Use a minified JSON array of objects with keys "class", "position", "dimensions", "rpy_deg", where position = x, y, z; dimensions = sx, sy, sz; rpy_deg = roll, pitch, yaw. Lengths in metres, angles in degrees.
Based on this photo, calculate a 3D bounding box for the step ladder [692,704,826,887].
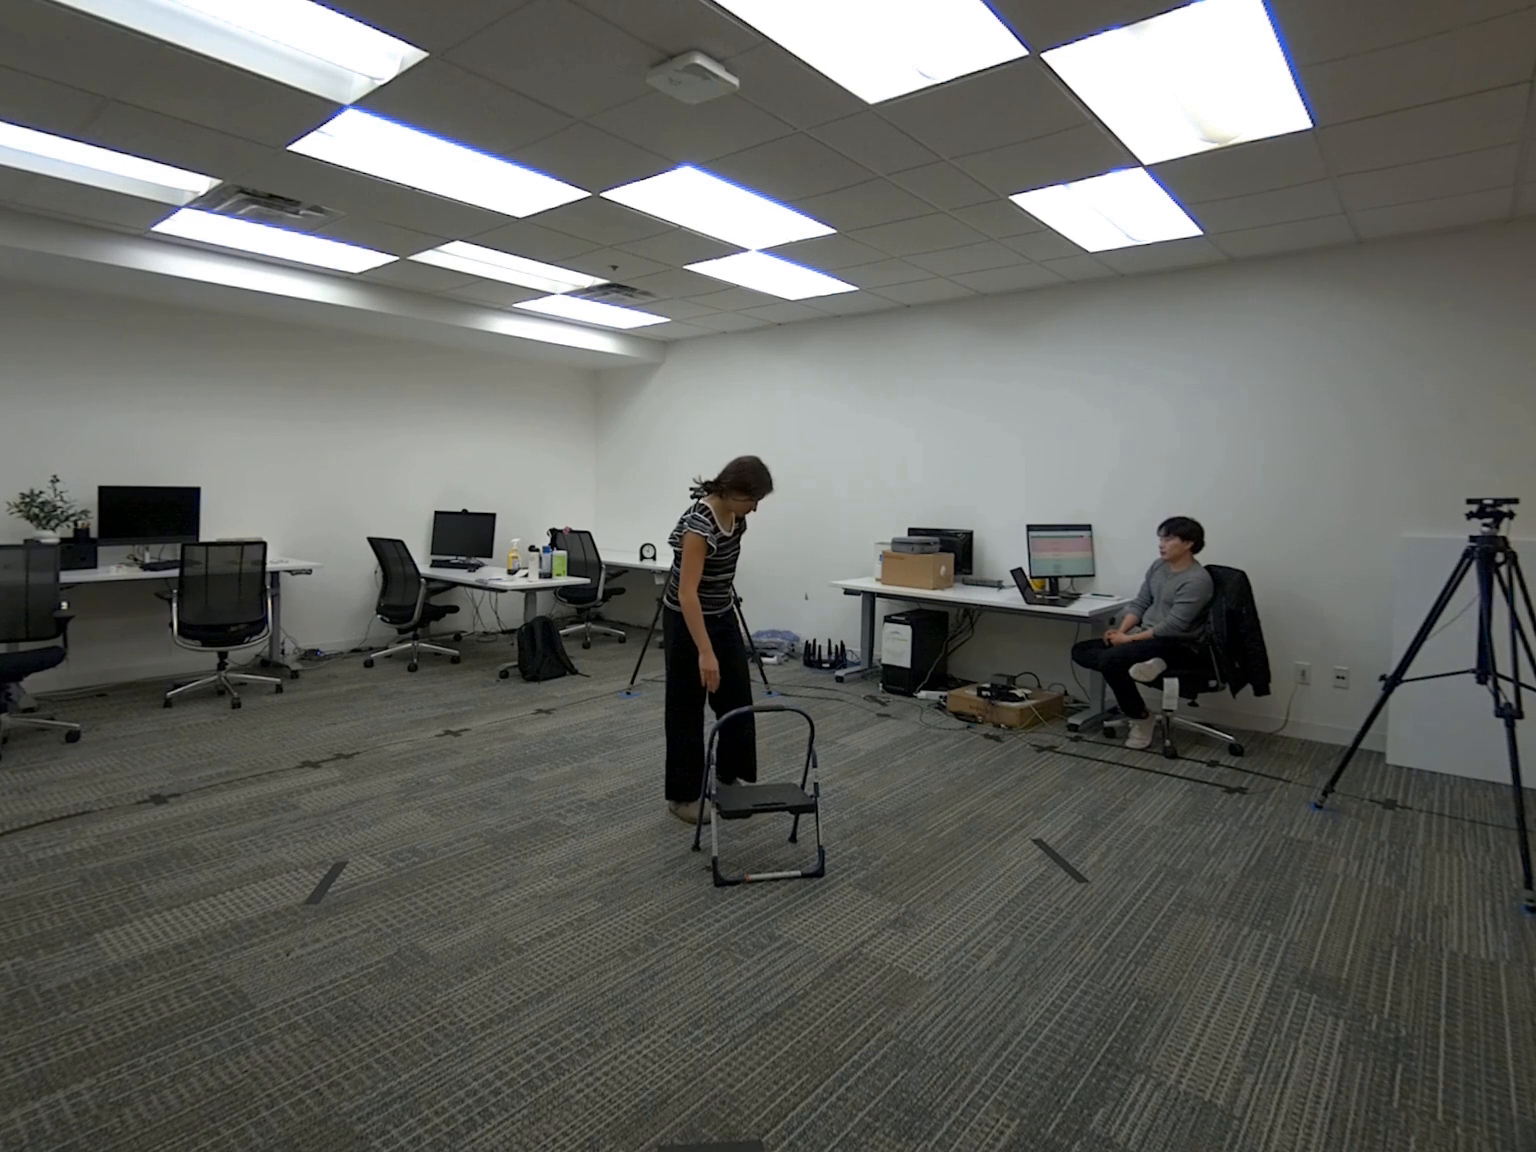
[{"class":"step ladder","position":[-0.042,0.763,3.165],"dimensions":[0.423,0.605,0.356],"rpy_deg":[0,3,-16]}]
